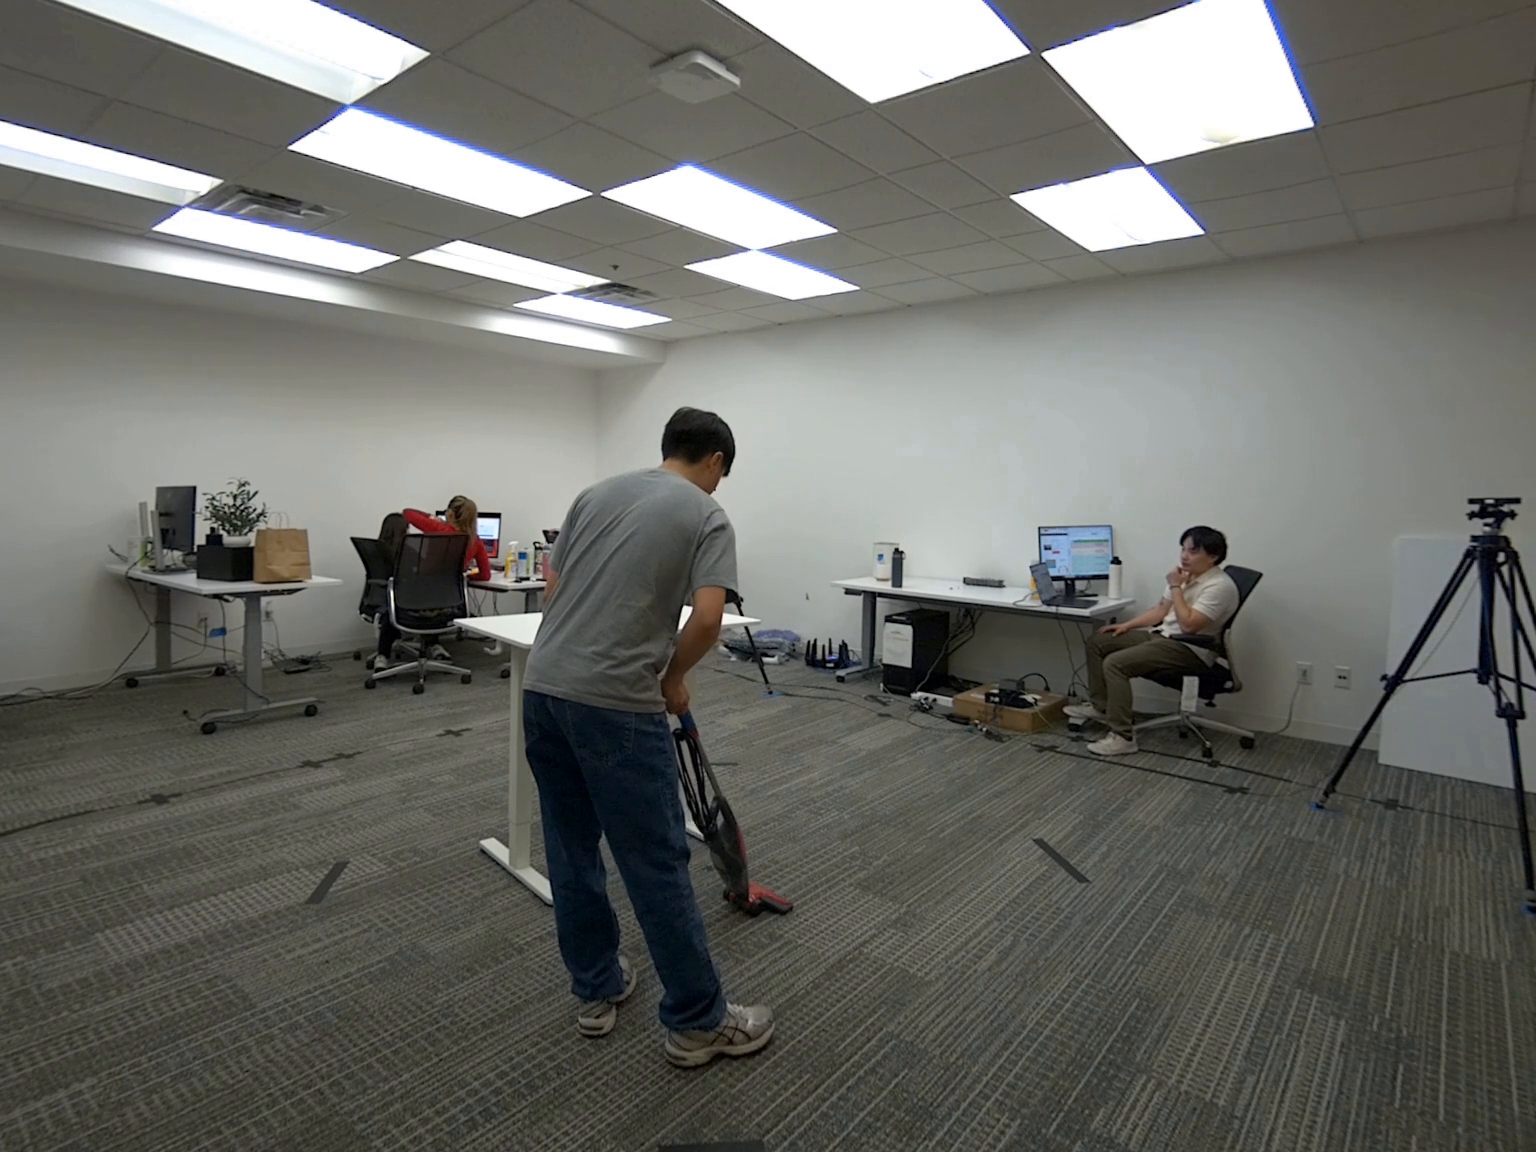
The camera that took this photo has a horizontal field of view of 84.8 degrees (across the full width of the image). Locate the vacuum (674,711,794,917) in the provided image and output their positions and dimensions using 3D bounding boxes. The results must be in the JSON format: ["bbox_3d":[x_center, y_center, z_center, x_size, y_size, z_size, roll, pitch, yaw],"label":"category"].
[{"bbox_3d":[-0.168,0.695,2.534,0.261,1.013,0.144,10,44,31],"label":"vacuum"}]
